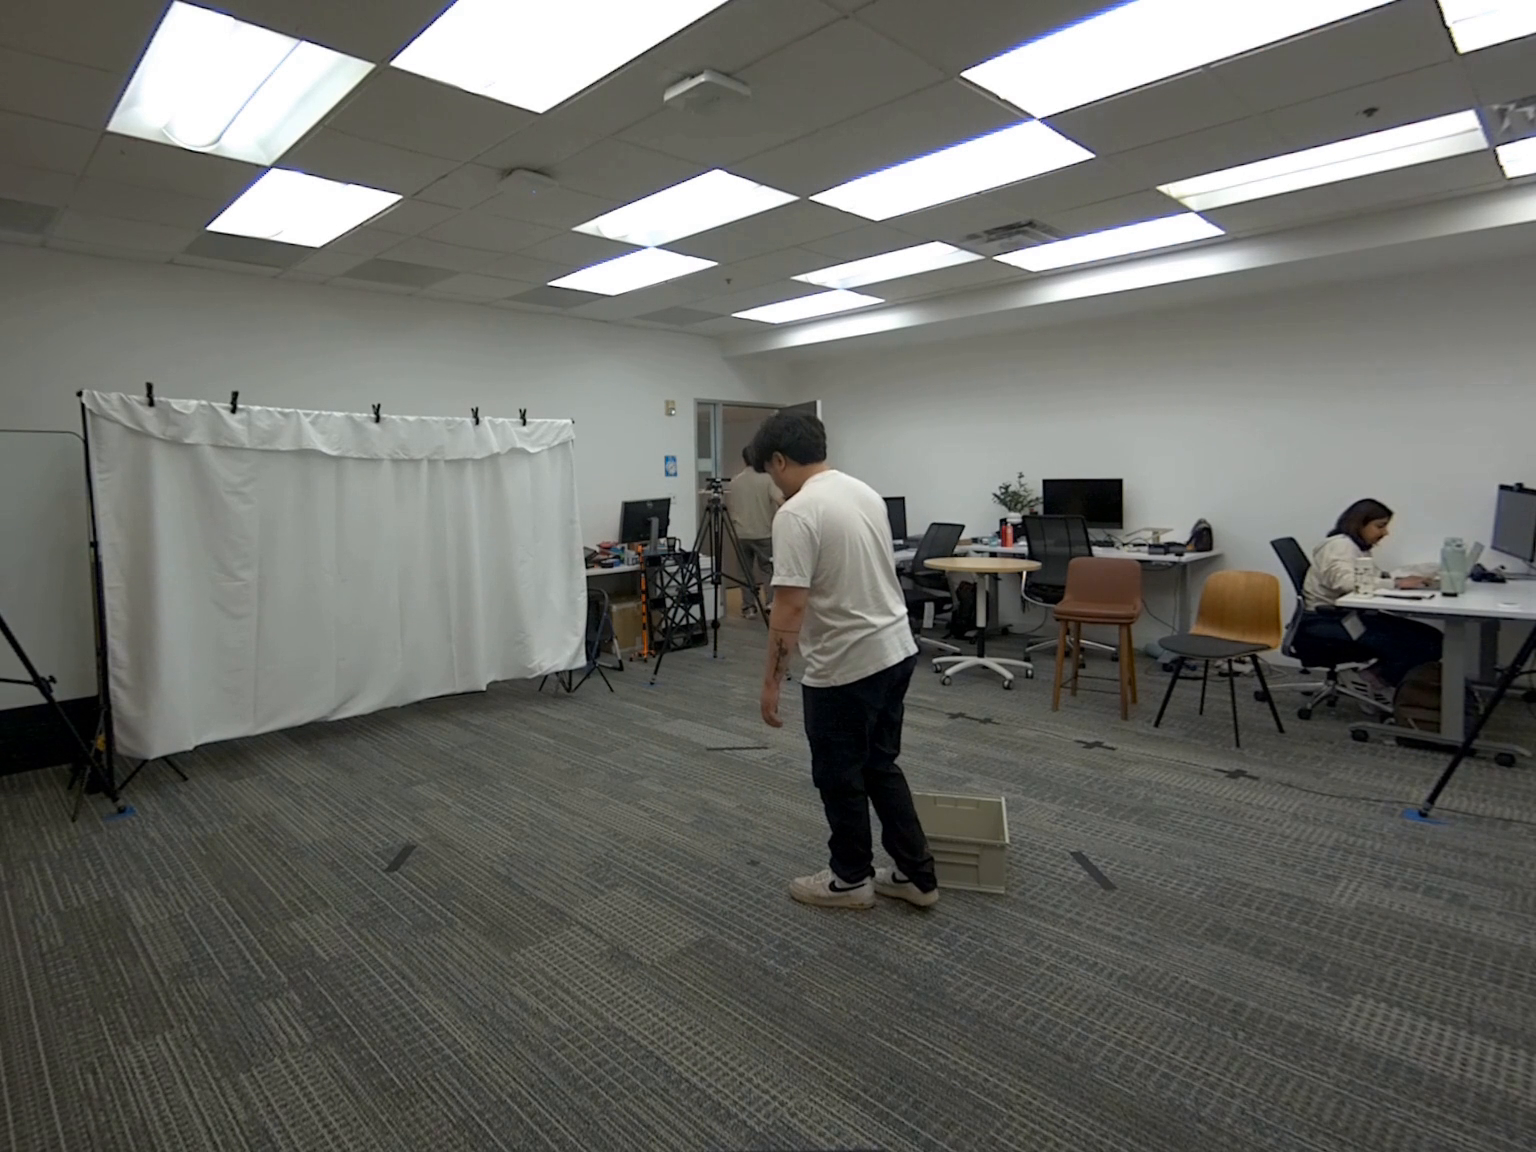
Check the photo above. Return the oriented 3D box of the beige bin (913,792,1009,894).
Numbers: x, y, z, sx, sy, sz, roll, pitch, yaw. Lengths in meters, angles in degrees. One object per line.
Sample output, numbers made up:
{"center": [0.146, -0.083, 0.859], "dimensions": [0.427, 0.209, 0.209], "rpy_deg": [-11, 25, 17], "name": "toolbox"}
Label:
{"center": [0.669, 0.947, 3.080], "dimensions": [0.383, 0.188, 0.418], "rpy_deg": [1, 6, 14], "name": "beige bin"}
